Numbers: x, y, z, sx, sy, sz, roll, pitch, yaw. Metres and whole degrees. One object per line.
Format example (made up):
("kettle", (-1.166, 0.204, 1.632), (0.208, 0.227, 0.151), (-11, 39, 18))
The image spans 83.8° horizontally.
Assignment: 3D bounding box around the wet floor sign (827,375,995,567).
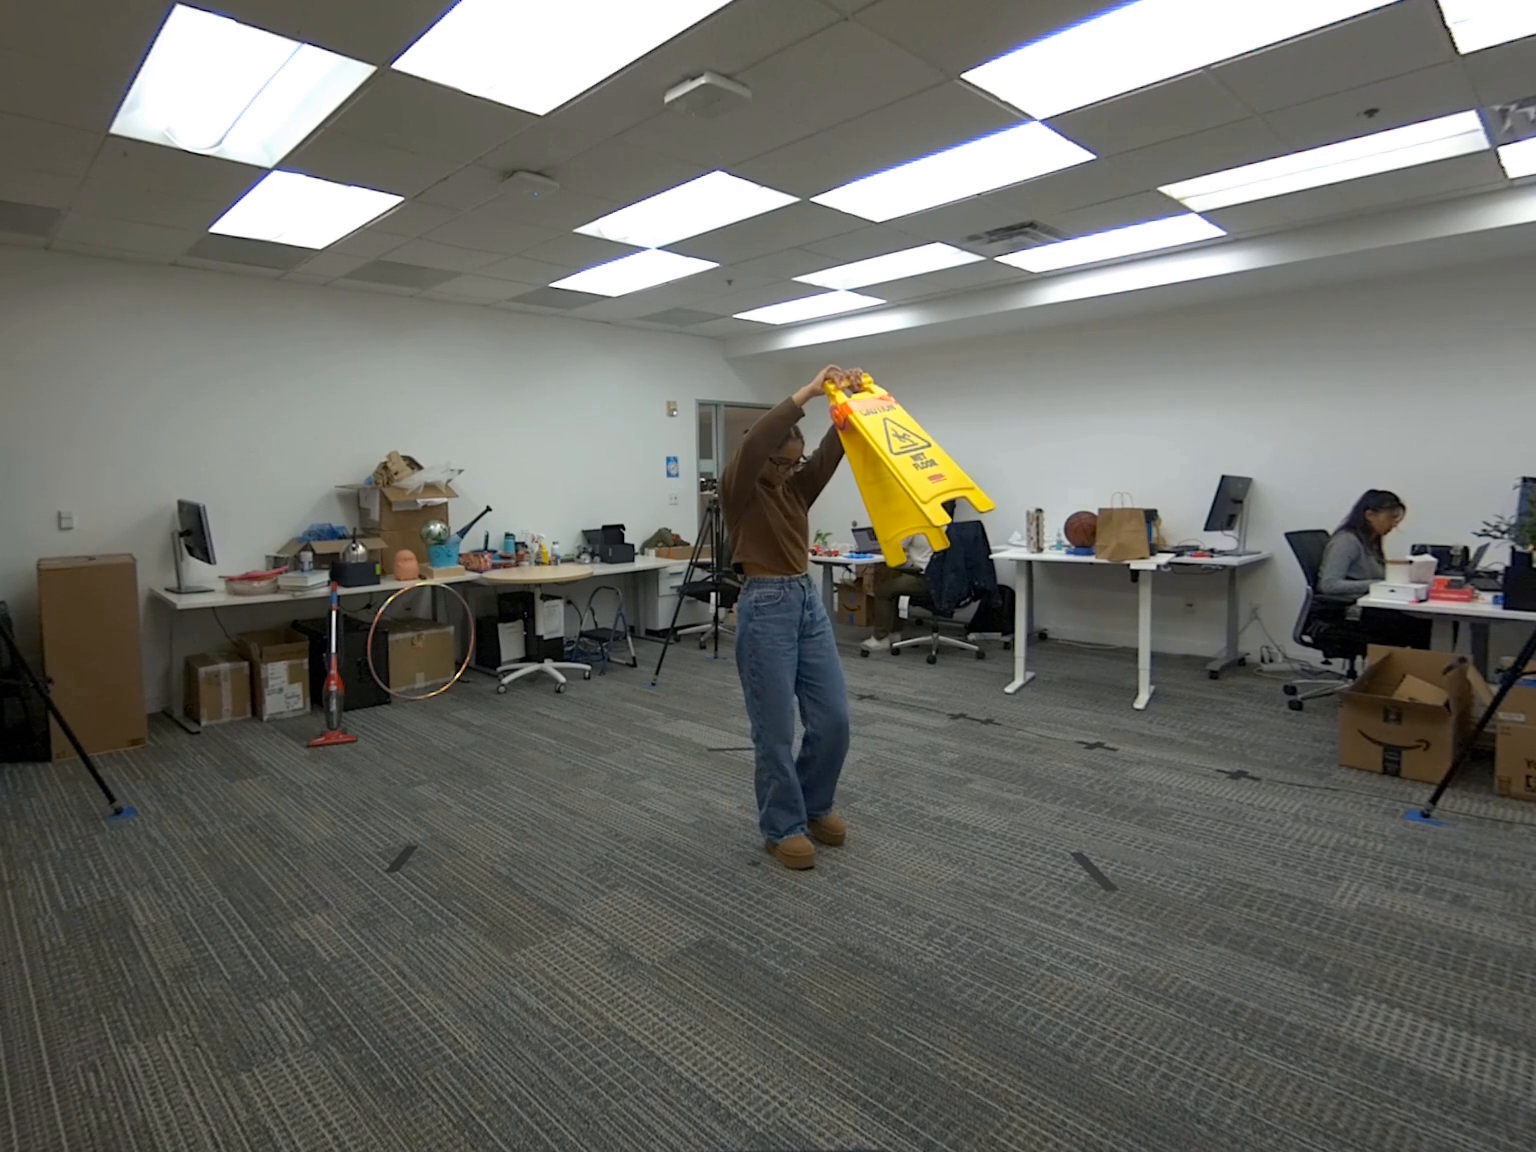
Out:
("wet floor sign", (0.413, -0.396, 2.809), (0.277, 0.660, 0.289), (-16, -19, -31))
